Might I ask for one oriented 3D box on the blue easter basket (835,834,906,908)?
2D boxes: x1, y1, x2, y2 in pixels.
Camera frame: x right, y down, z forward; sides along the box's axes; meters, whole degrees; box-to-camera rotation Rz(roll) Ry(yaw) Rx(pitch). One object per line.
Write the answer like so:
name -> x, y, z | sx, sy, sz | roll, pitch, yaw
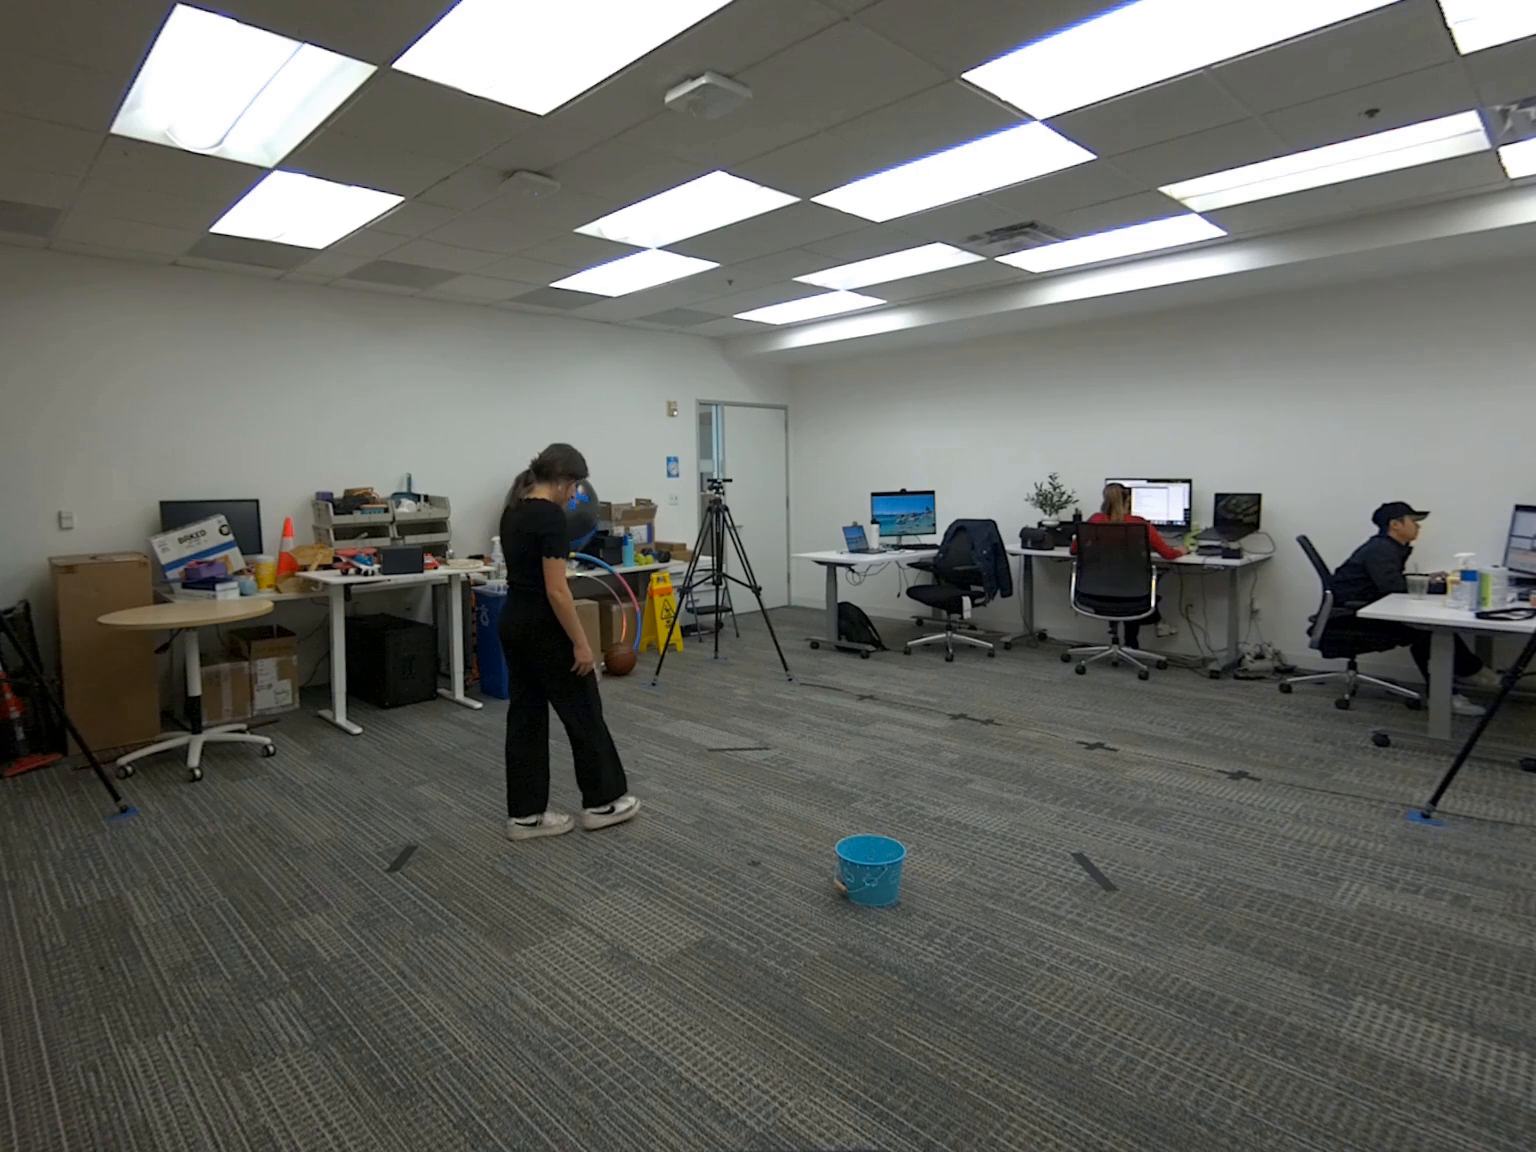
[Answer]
blue easter basket -> 0.341, 0.986, 2.860 | 0.243, 0.155, 0.245 | -1, 6, -2
